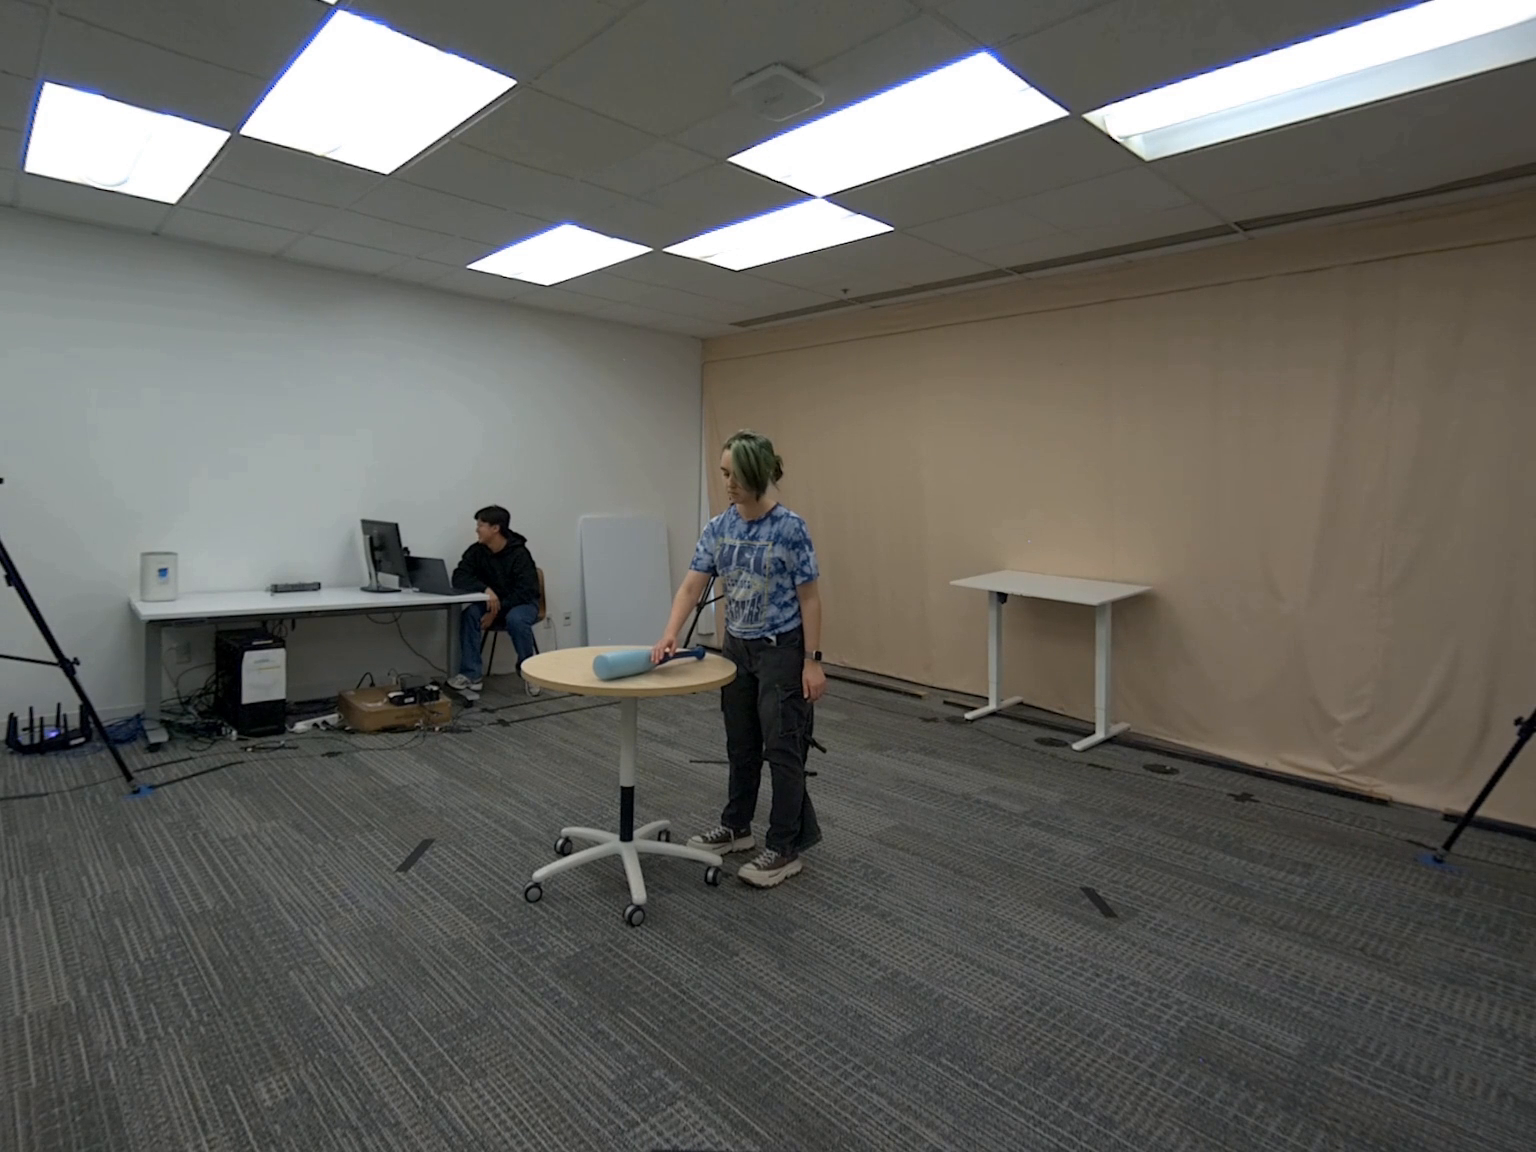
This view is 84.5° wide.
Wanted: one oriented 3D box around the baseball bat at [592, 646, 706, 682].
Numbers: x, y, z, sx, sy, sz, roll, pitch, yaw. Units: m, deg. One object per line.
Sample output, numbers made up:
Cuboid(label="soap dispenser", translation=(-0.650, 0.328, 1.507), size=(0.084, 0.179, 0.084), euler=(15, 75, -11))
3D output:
Cuboid(label="baseball bat", translation=(-0.411, 0.297, 2.946), size=(0.091, 0.089, 0.531), euler=(4, 2, 31))
